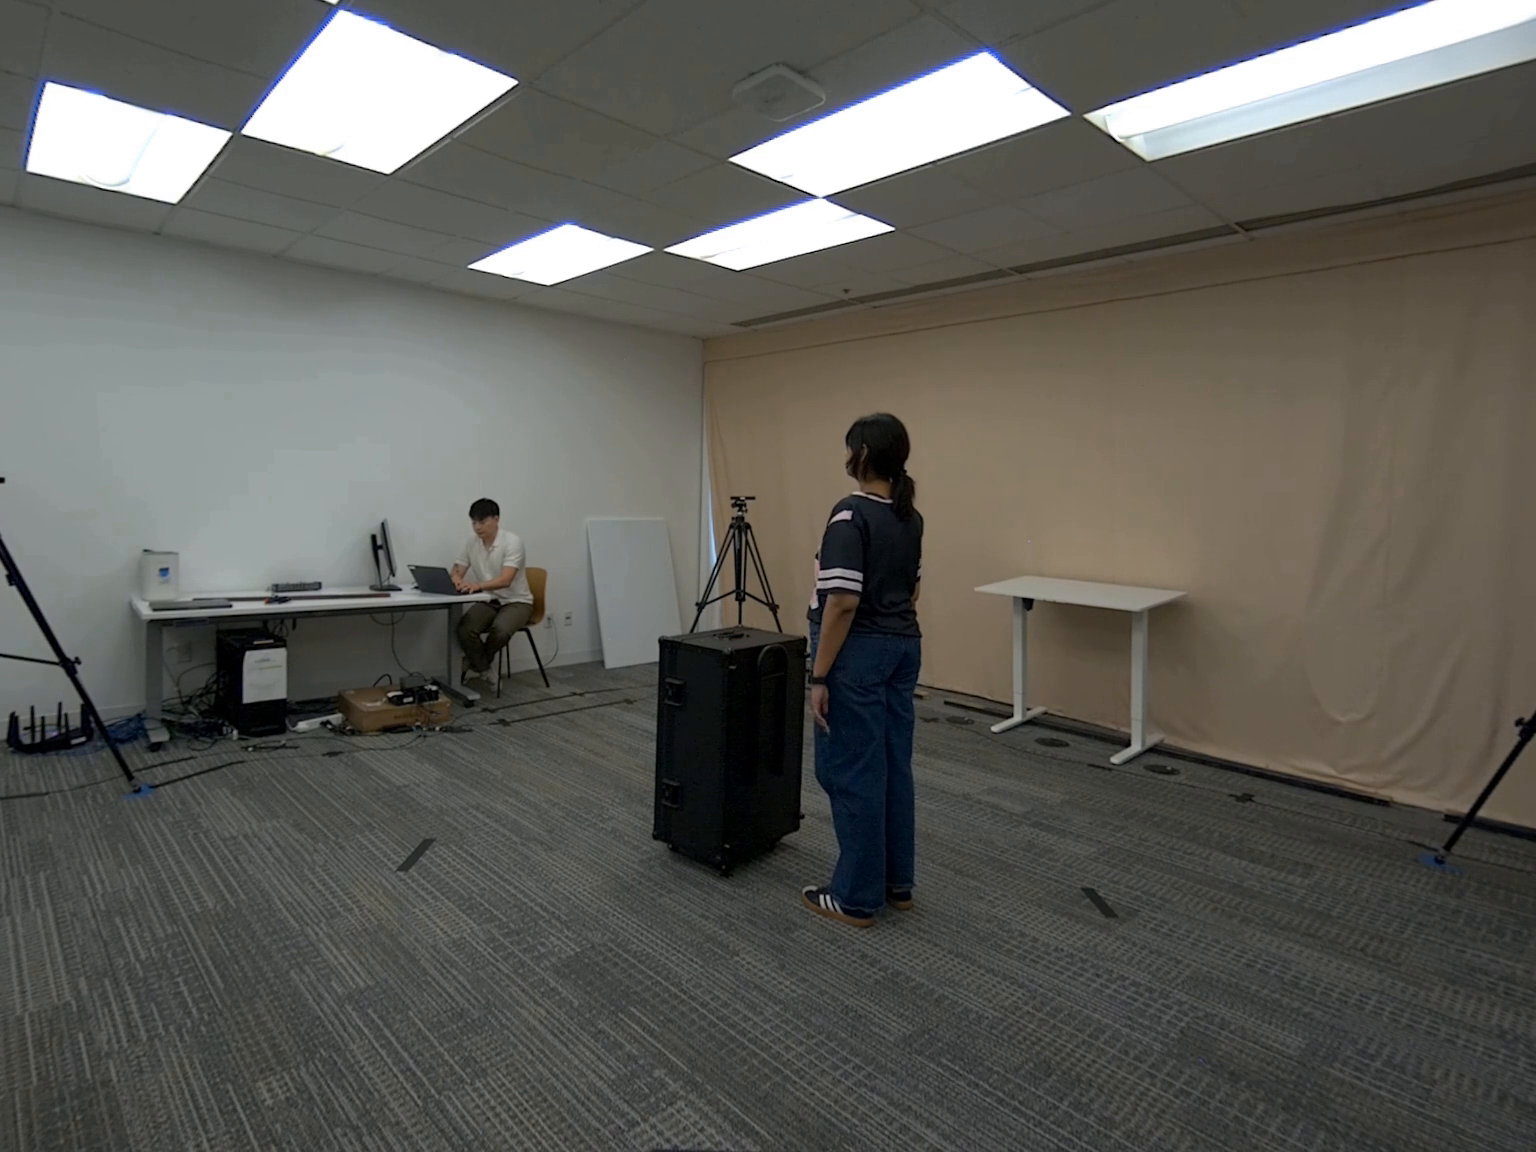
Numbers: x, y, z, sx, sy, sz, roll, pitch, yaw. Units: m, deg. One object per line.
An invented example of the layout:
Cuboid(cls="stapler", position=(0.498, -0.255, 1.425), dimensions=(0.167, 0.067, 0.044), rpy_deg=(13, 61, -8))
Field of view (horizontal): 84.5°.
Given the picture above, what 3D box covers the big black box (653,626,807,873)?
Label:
Cuboid(cls="big black box", position=(-0.143, 0.667, 3.299), dimensions=(0.395, 0.866, 0.512), rpy_deg=(5, 5, 38))
